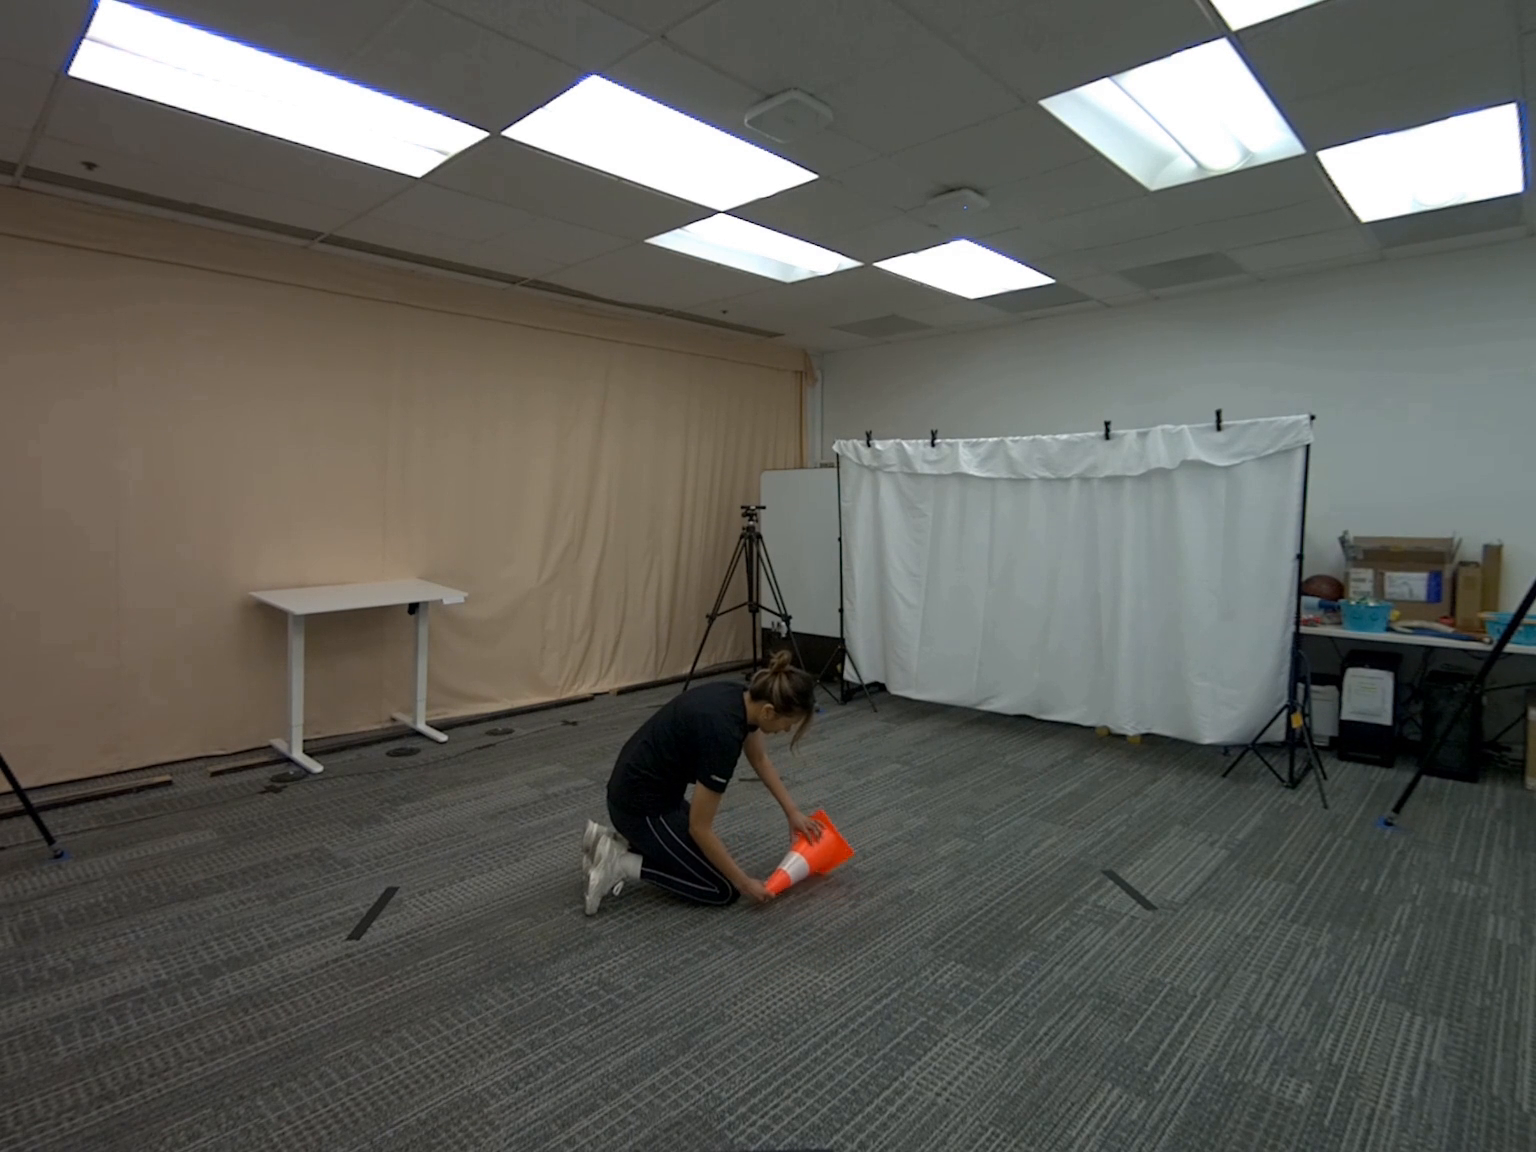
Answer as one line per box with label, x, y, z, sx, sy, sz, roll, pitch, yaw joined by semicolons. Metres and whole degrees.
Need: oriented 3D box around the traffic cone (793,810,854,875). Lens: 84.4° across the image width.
traffic cone;0.096;1.058;3.025;0.375;0.206;0.206;-26;-18;-49
